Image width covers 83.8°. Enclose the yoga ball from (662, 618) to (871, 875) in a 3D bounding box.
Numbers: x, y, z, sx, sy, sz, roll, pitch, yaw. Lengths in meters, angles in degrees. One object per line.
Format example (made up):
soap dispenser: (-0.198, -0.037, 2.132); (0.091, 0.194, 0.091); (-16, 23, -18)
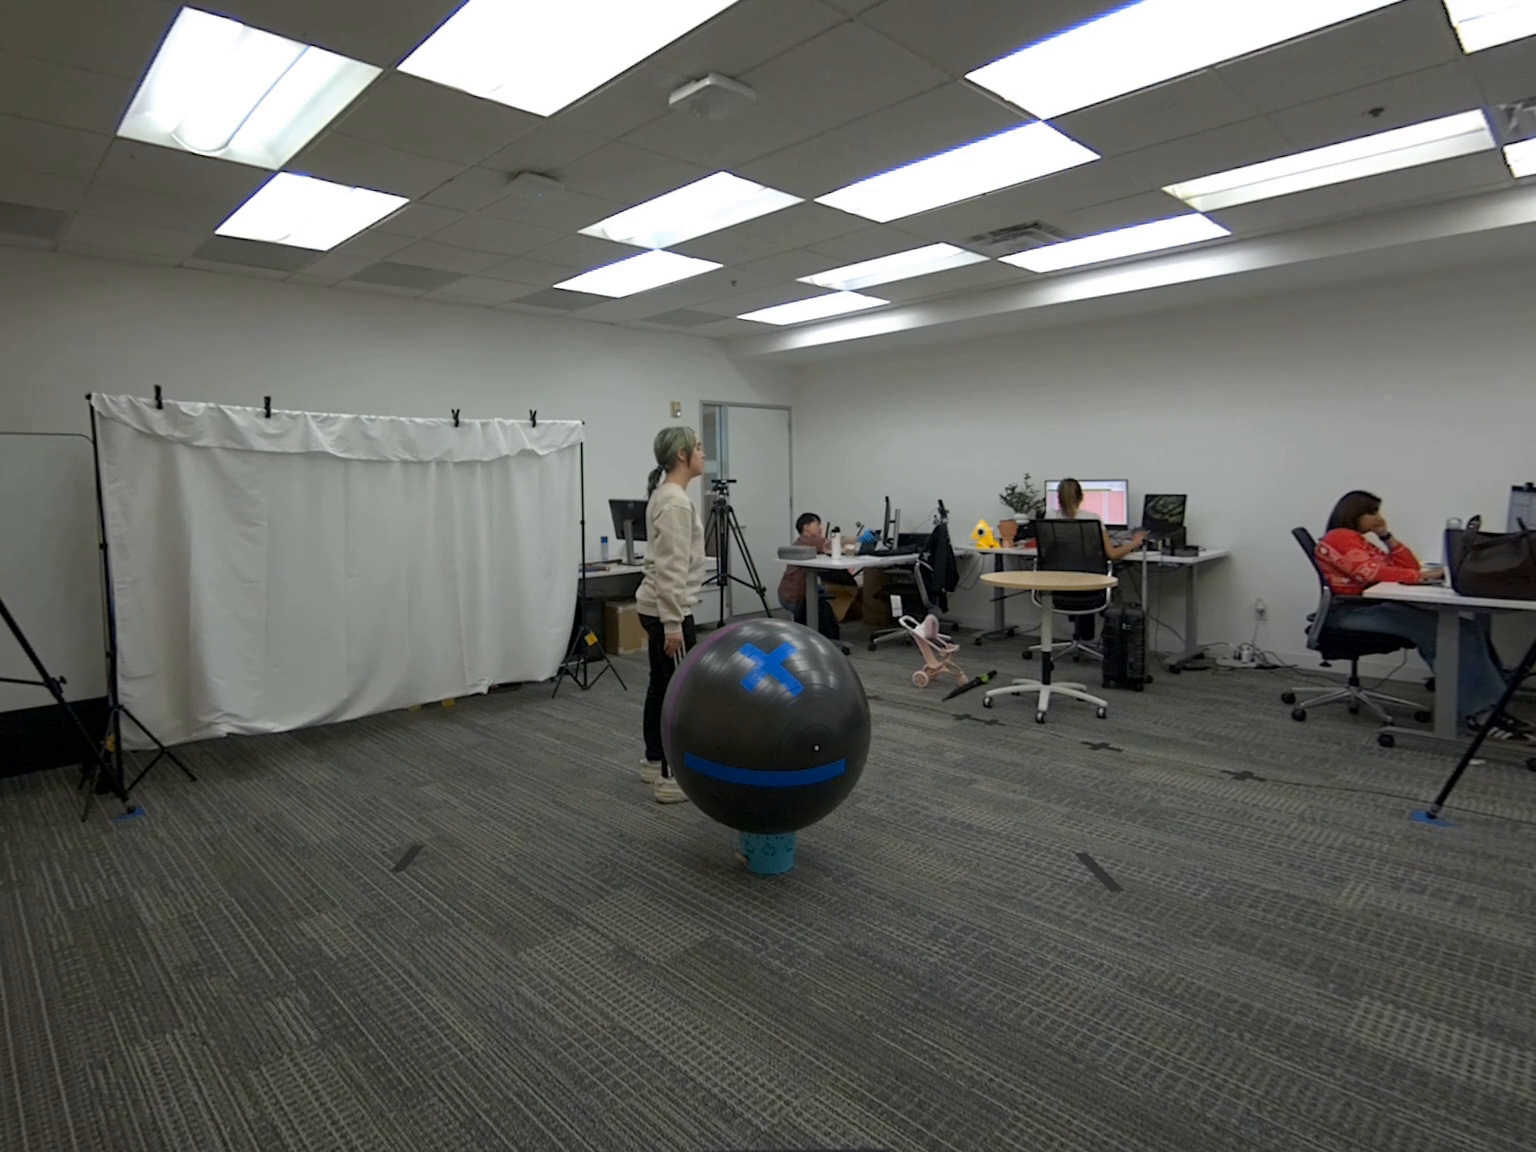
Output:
yoga ball: (-0.009, 0.533, 3.090); (0.757, 0.755, 0.762); (-1, 5, -2)
